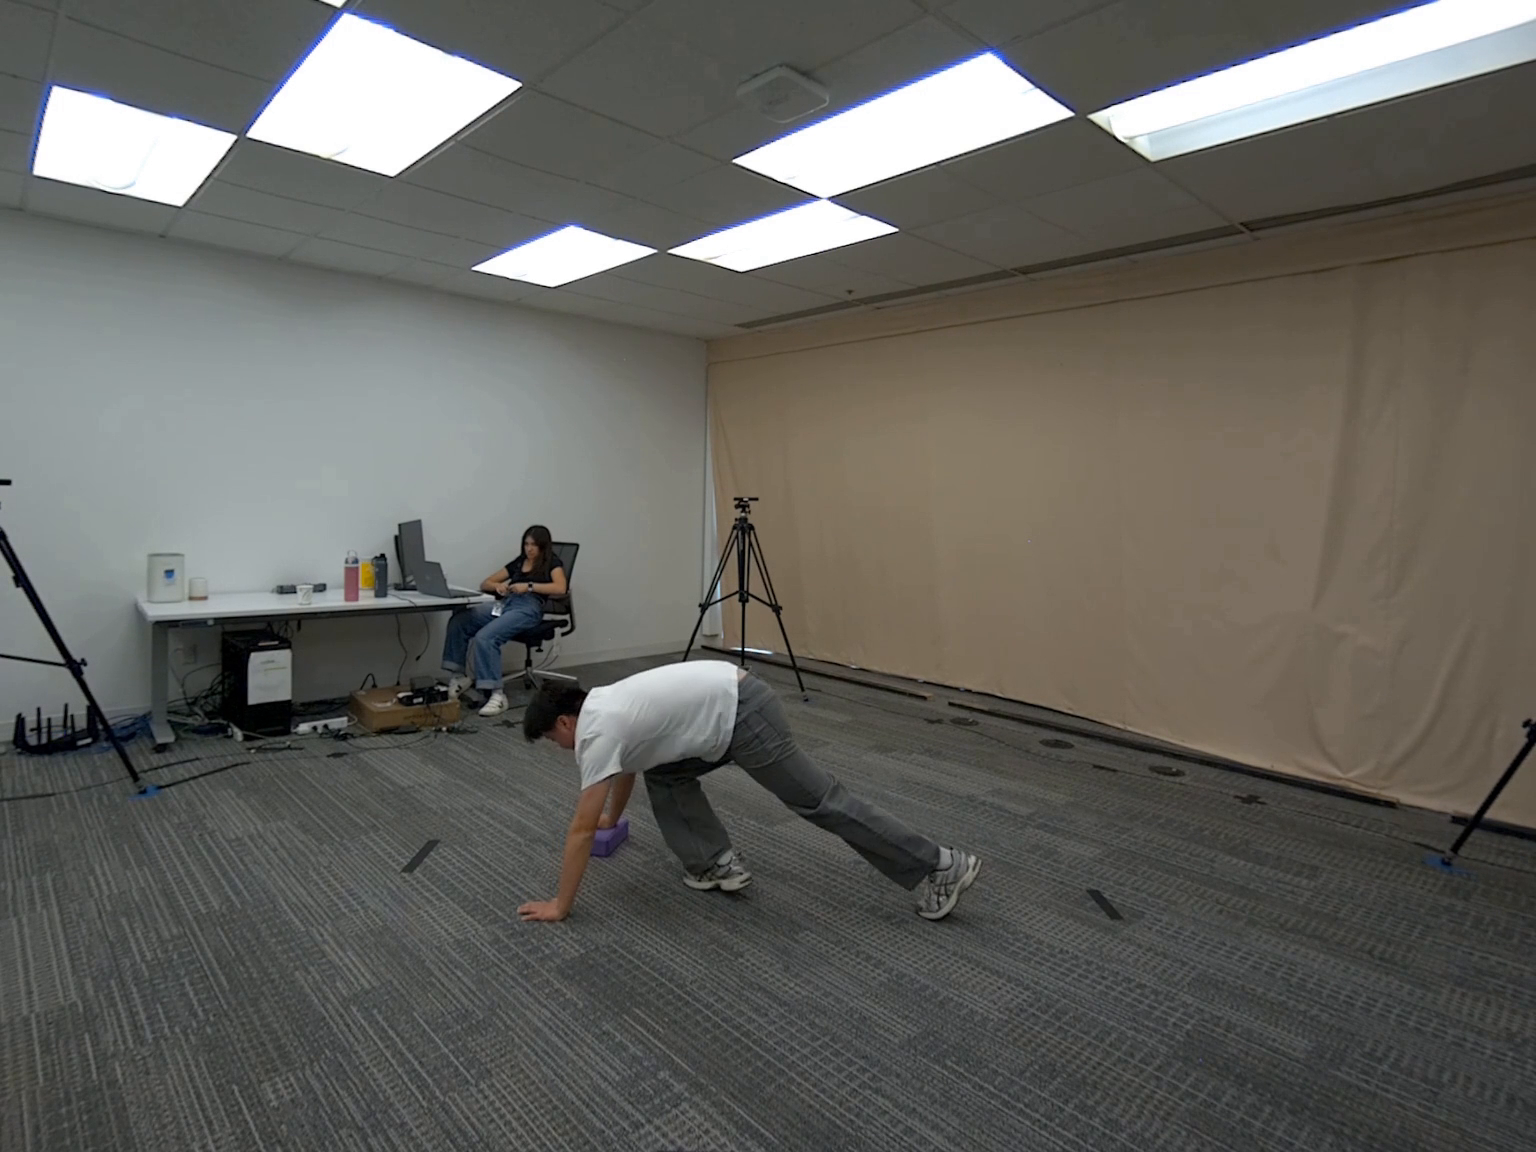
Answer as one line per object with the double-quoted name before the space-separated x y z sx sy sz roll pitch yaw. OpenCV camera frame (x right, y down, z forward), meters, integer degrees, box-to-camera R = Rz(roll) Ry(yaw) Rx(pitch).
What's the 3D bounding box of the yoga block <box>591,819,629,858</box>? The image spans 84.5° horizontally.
"yoga block" -0.676 1.043 3.358 0.151 0.076 0.227 3 7 13
